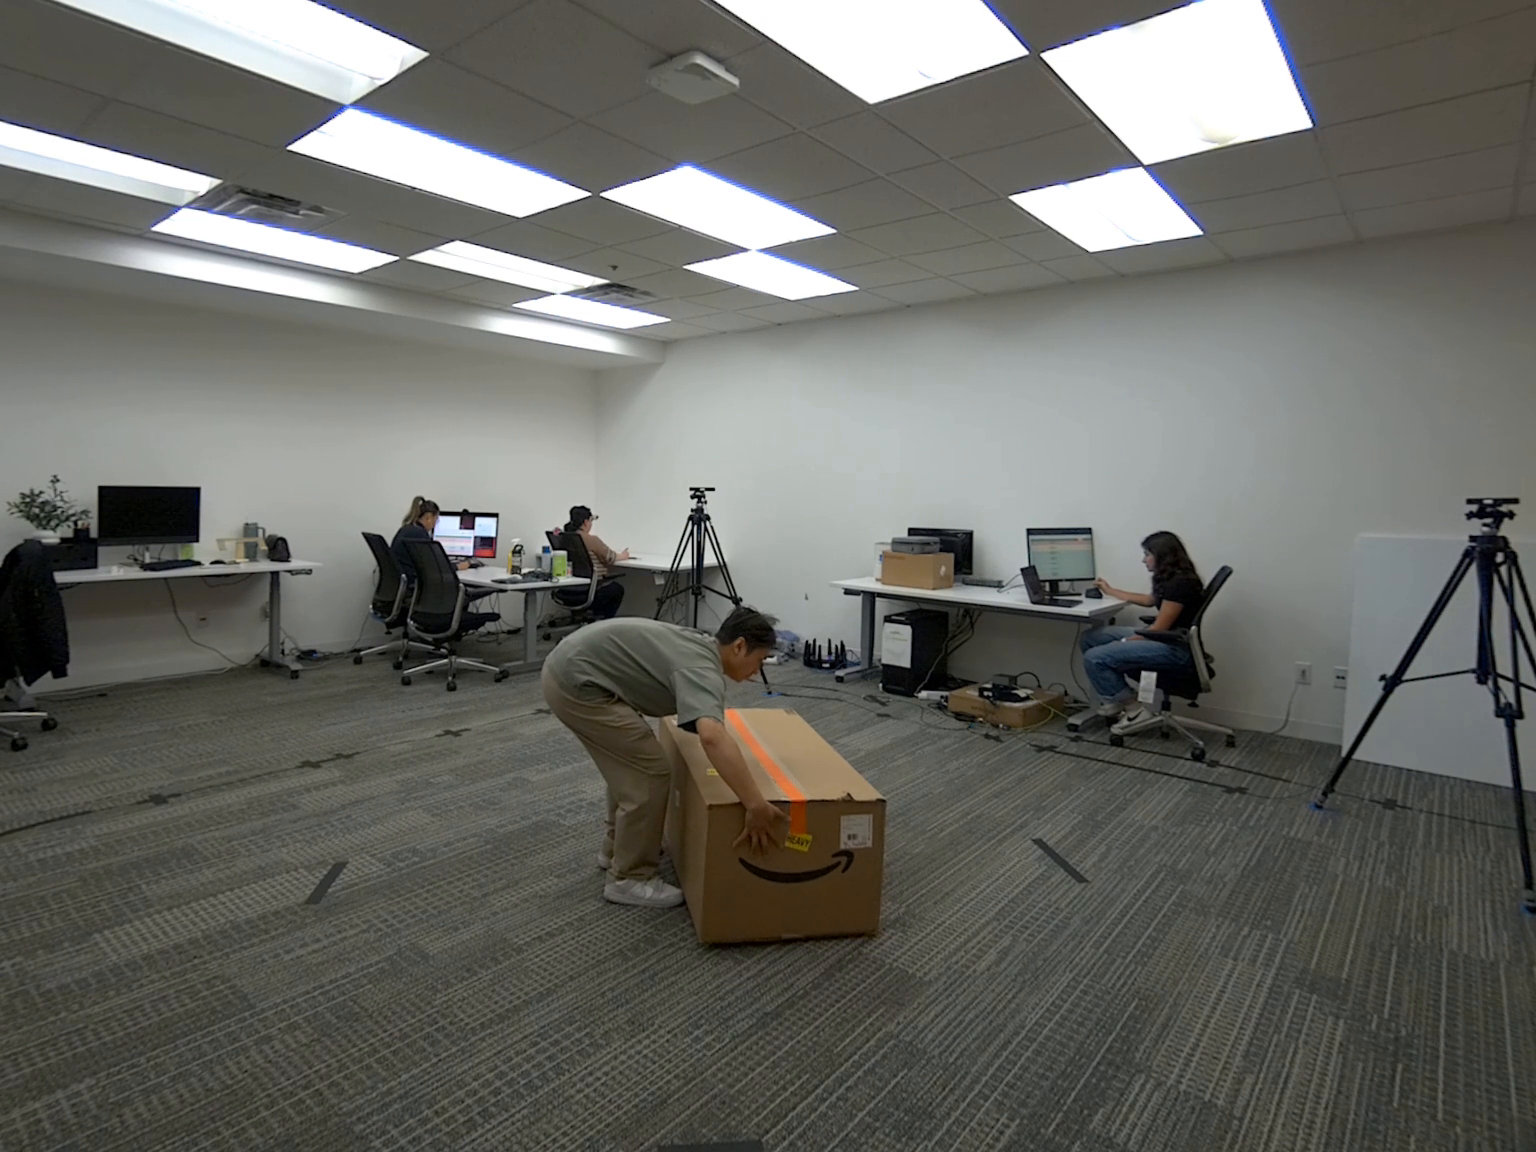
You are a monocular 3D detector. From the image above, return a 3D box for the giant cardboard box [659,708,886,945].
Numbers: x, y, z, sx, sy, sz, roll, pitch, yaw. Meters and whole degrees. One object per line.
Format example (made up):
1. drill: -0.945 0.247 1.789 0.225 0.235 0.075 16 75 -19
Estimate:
1. giant cardboard box: -0.051 0.818 3.074 0.569 0.424 1.046 1 7 -14
